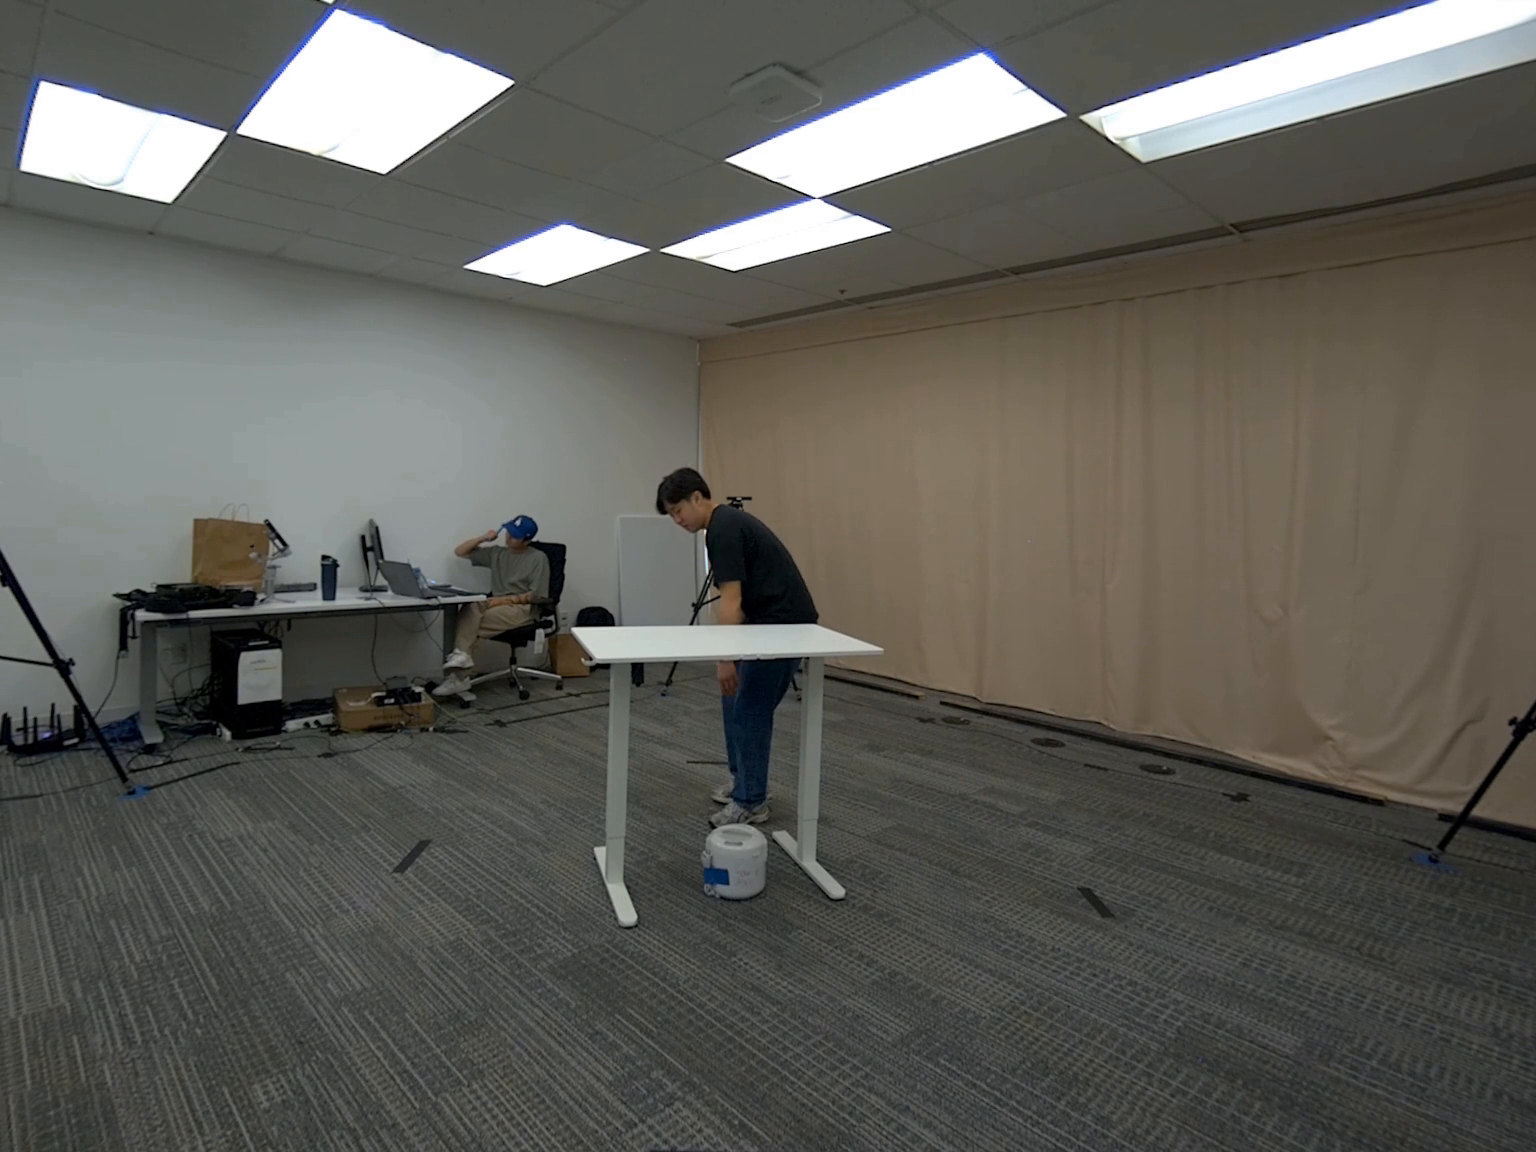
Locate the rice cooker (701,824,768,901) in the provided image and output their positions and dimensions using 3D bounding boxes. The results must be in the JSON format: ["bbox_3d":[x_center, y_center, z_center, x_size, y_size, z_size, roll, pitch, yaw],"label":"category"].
[{"bbox_3d":[-0.119,1.004,2.990,0.223,0.232,0.216,2,6,12],"label":"rice cooker"}]
